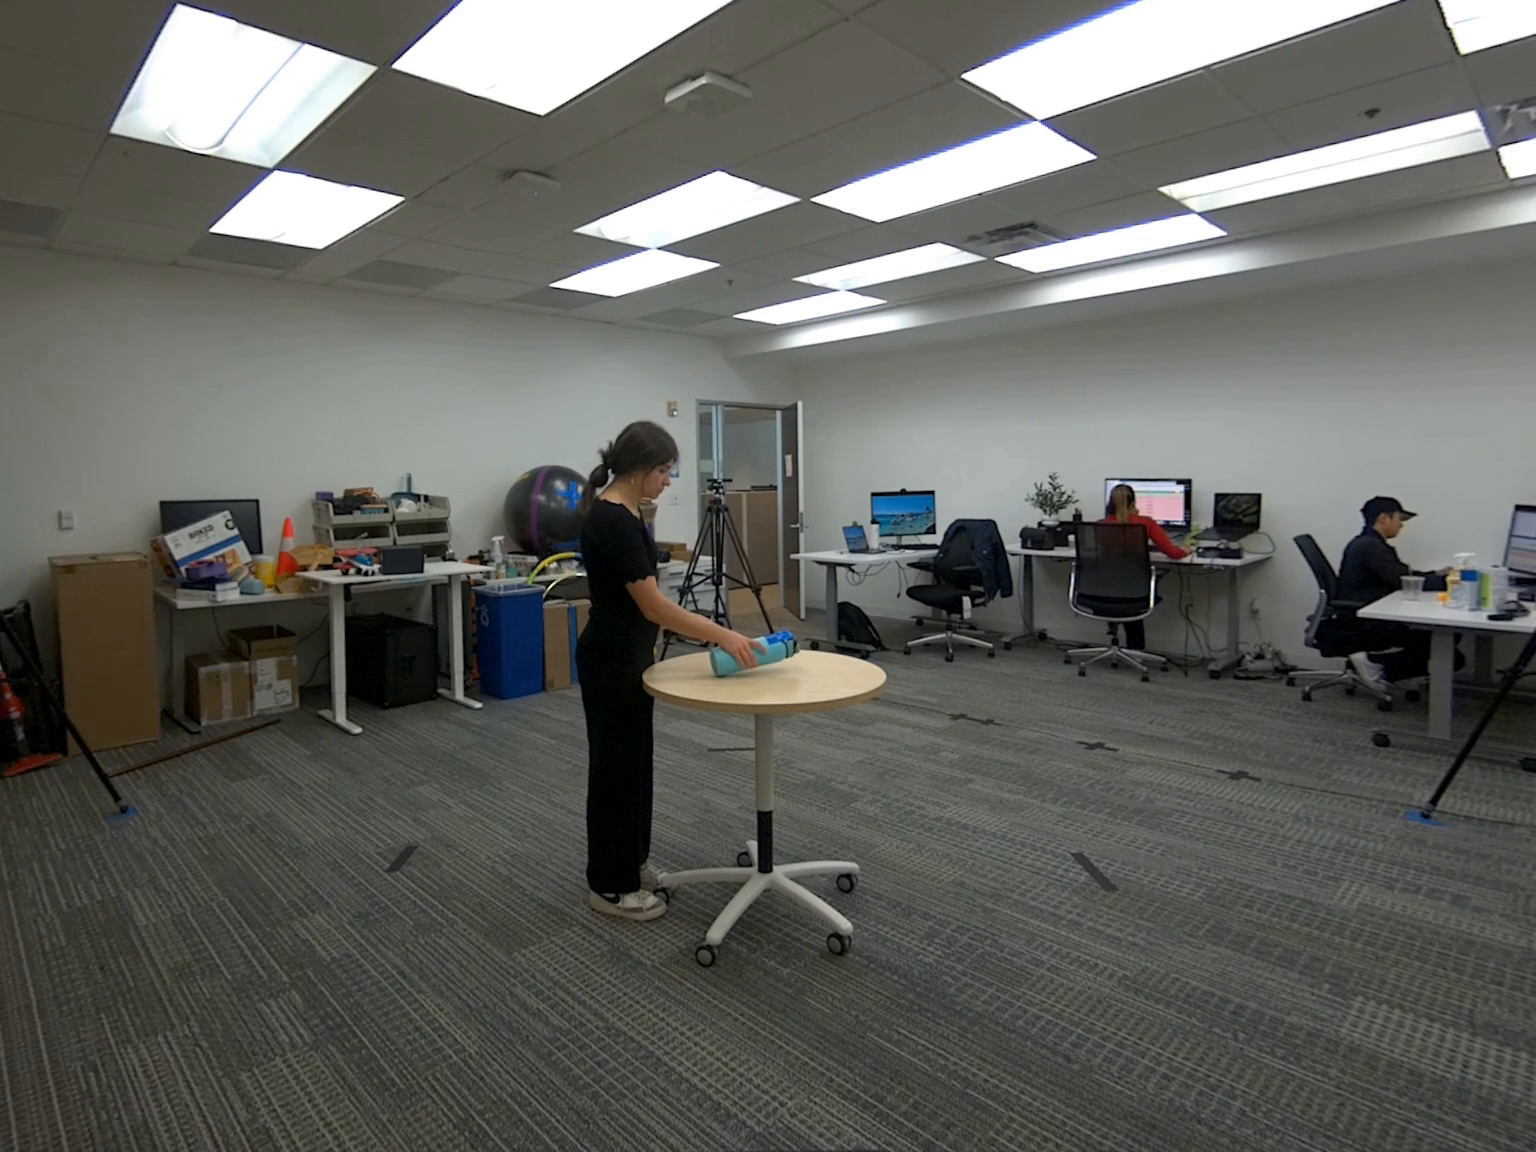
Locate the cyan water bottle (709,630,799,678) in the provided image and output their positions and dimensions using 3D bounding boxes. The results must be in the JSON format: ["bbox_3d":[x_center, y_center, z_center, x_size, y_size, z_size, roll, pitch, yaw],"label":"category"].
[{"bbox_3d":[-0.041,0.234,2.699,0.281,0.092,0.093,-10,6,-8],"label":"cyan water bottle"}]
